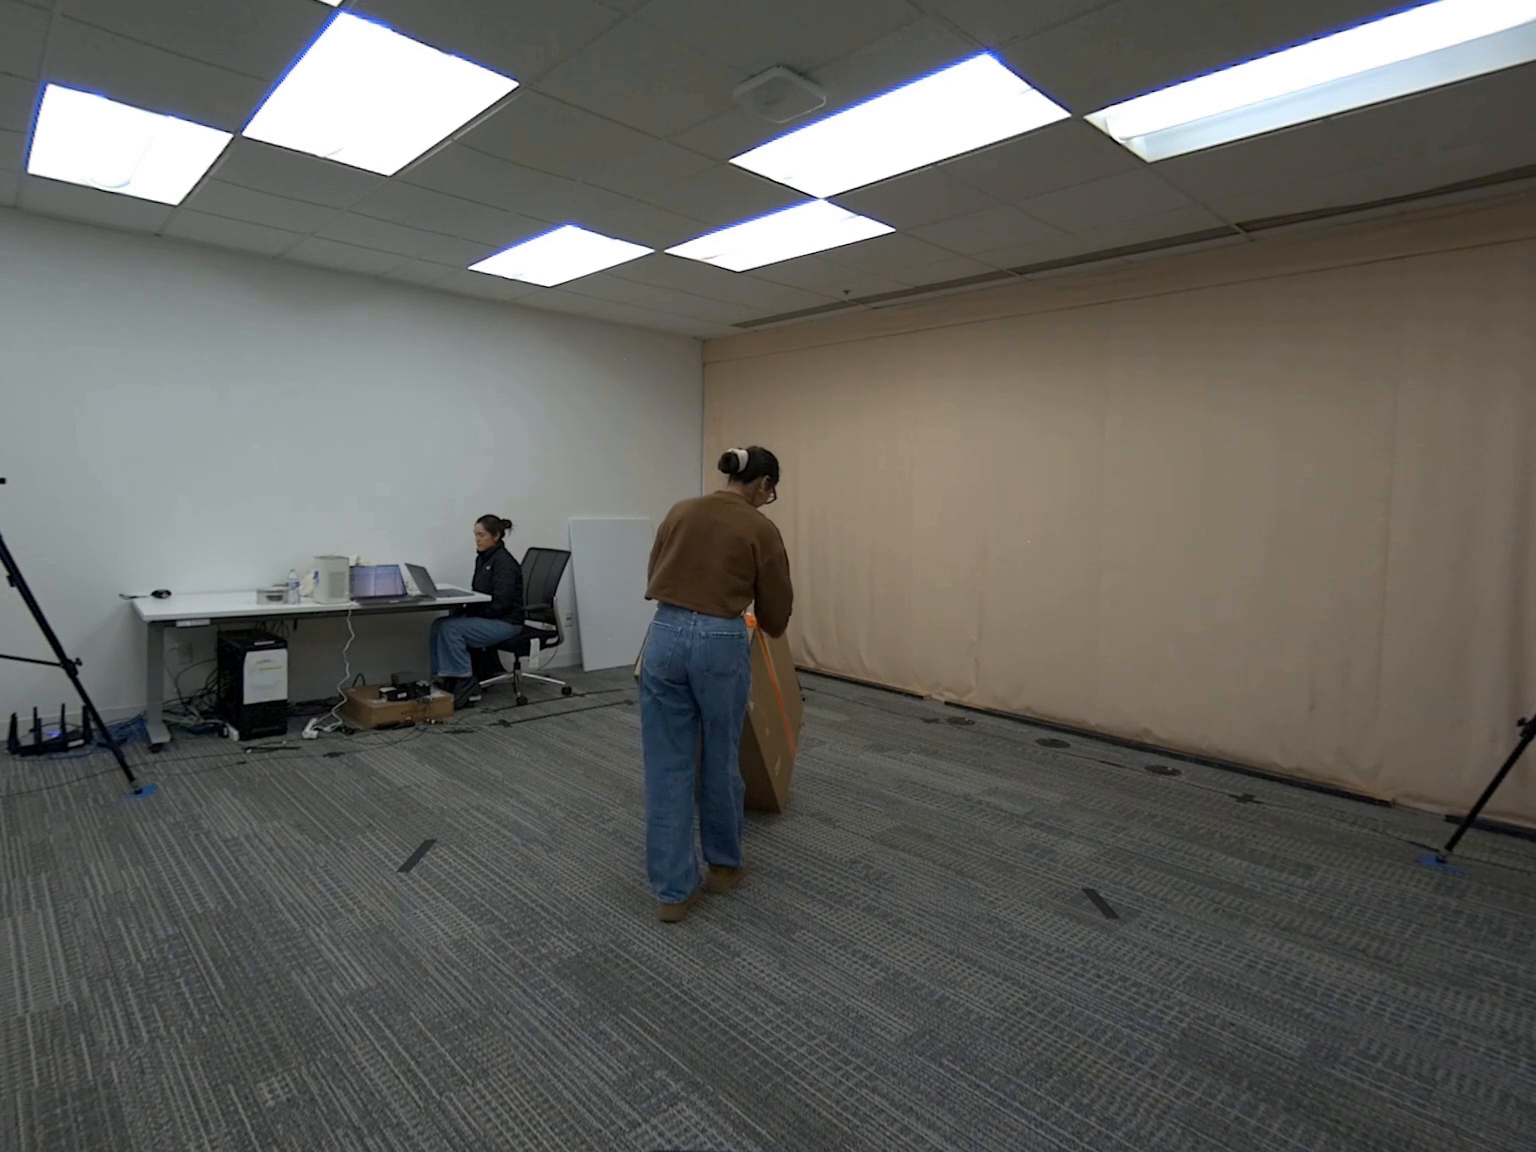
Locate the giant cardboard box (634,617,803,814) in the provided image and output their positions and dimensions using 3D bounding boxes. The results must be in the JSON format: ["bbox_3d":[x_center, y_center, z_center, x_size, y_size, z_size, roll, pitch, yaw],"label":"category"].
[{"bbox_3d":[-0.169,0.503,3.624,0.432,0.585,0.998,3,-41,16],"label":"giant cardboard box"}]
